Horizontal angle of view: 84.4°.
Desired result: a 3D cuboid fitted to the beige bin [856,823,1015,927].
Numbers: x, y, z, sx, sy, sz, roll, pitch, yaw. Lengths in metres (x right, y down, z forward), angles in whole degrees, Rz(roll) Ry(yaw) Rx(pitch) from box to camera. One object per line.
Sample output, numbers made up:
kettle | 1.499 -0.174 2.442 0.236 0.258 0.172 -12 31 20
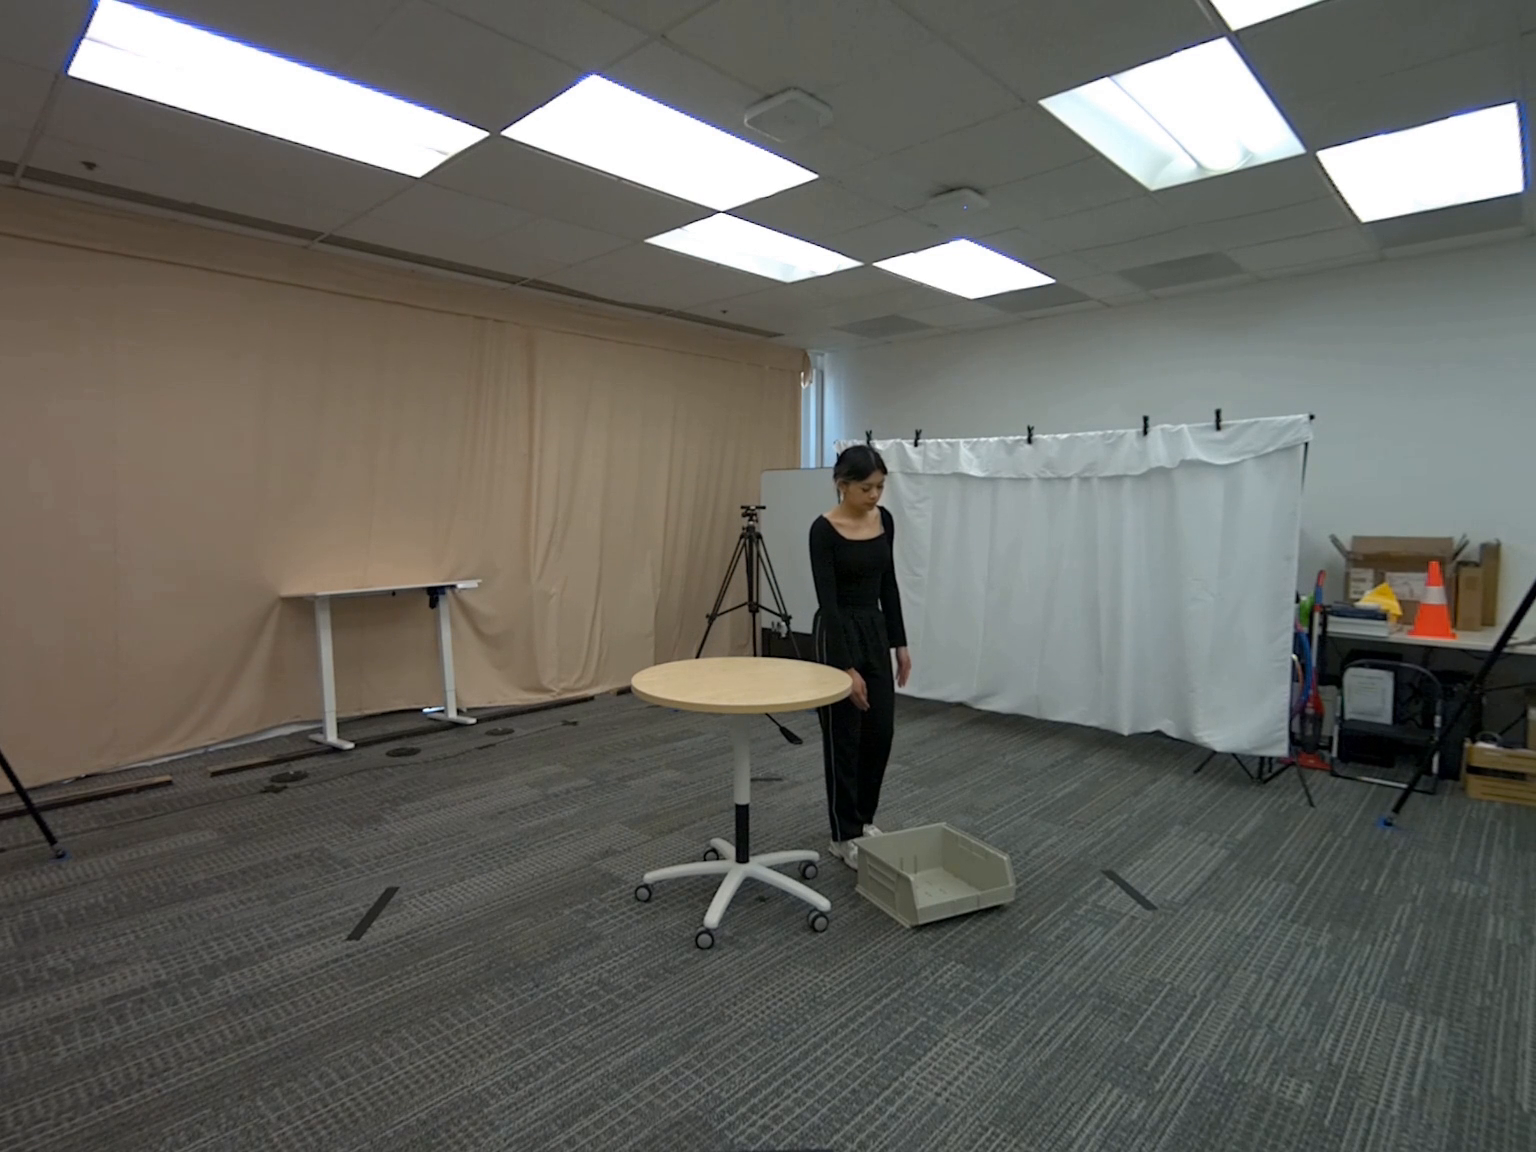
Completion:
beige bin | 0.581 1.053 2.973 0.412 0.188 0.388 -3 5 -27
